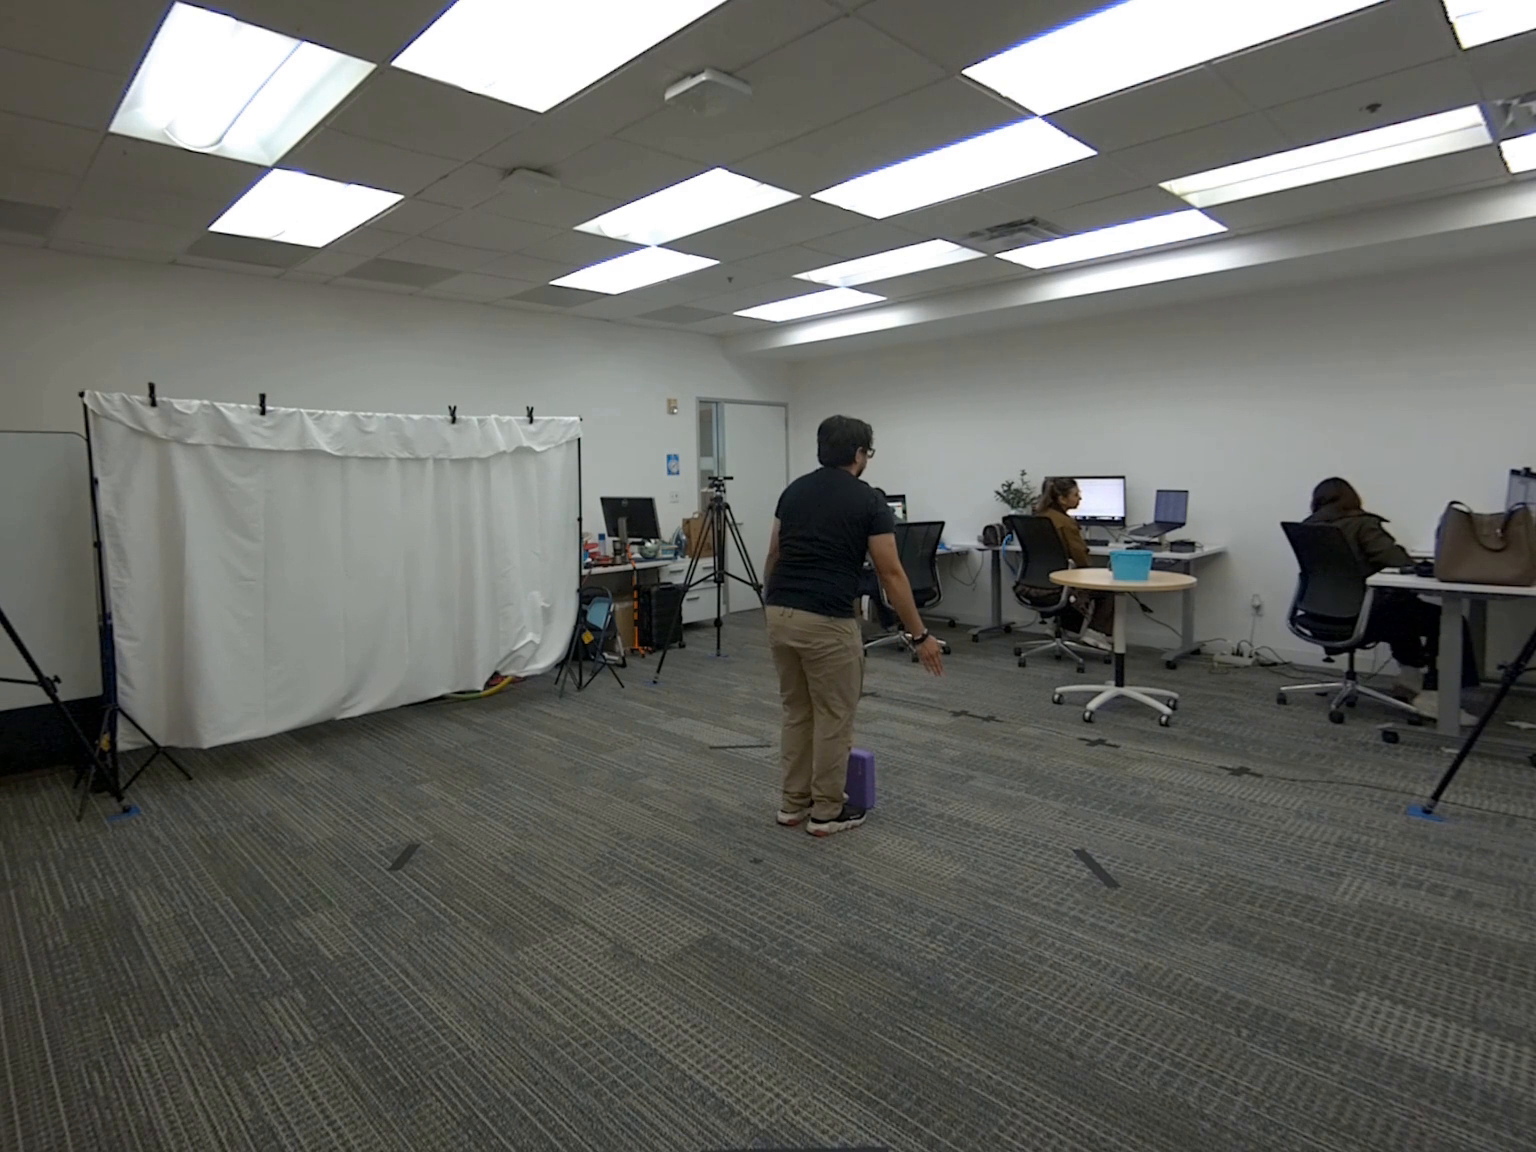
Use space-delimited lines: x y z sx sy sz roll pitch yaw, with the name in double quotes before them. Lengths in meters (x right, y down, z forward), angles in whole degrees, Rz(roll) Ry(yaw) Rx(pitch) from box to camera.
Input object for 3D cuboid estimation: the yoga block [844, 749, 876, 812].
"yoga block" 0.380 0.851 3.621 0.074 0.228 0.153 -4 5 -38
